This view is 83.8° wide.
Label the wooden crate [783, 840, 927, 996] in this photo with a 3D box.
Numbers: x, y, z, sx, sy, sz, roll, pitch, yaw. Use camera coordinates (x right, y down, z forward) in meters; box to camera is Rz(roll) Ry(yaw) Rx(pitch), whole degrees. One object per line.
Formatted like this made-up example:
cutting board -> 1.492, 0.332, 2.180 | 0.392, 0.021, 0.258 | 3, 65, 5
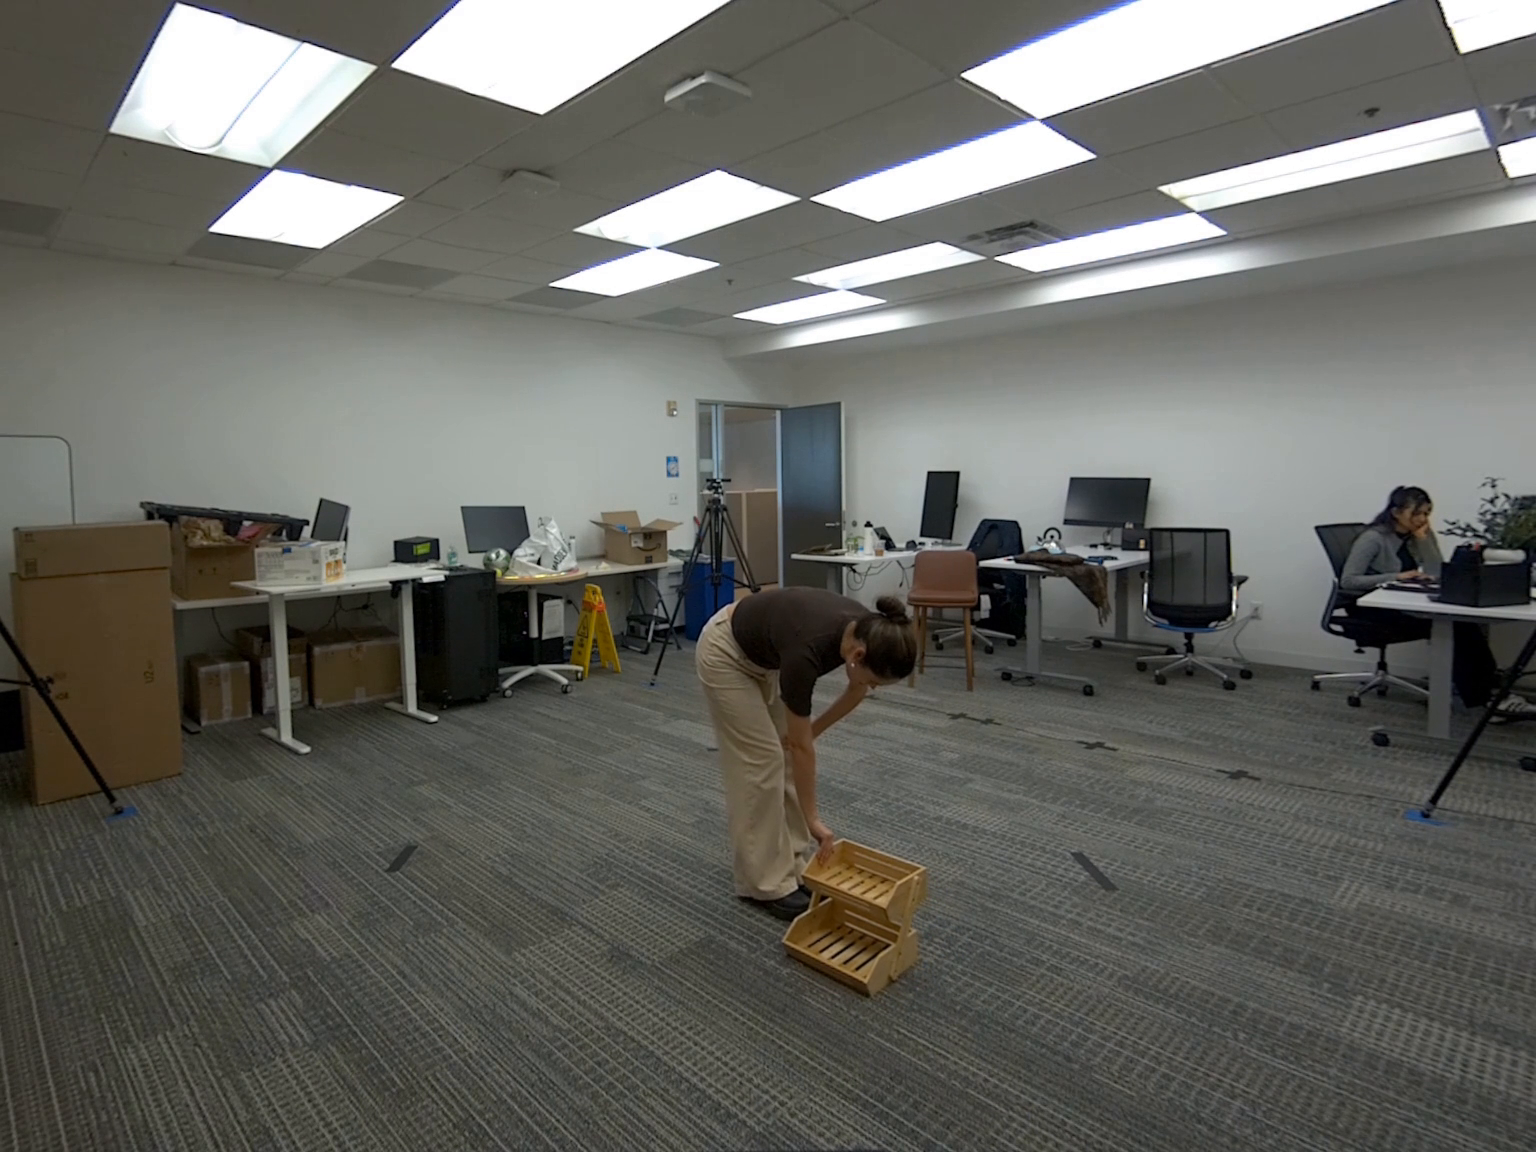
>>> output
wooden crate -> 0.255, 0.975, 2.486 | 0.334, 0.272, 0.294 | 4, 6, 44
